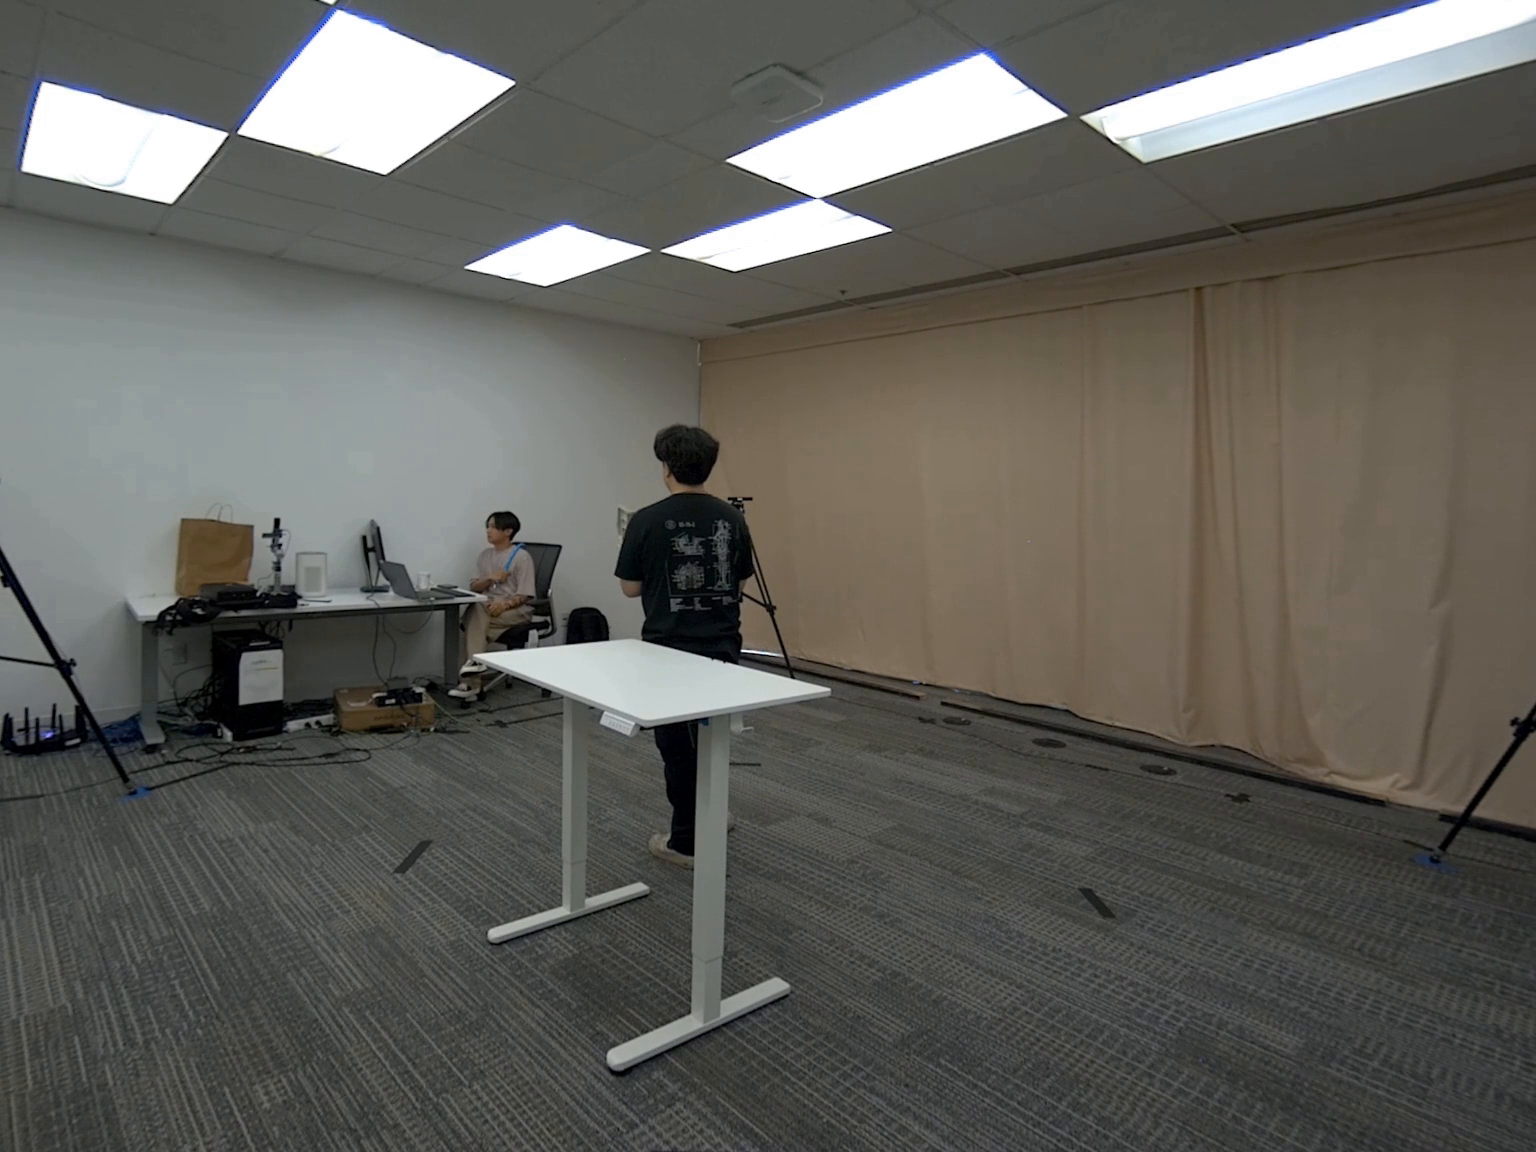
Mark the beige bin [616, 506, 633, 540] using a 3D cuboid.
[{"bbox_3d":[-0.407,-0.194,3.555,0.417,0.188,0.384,-1,10,-17],"label":"beige bin"}]
